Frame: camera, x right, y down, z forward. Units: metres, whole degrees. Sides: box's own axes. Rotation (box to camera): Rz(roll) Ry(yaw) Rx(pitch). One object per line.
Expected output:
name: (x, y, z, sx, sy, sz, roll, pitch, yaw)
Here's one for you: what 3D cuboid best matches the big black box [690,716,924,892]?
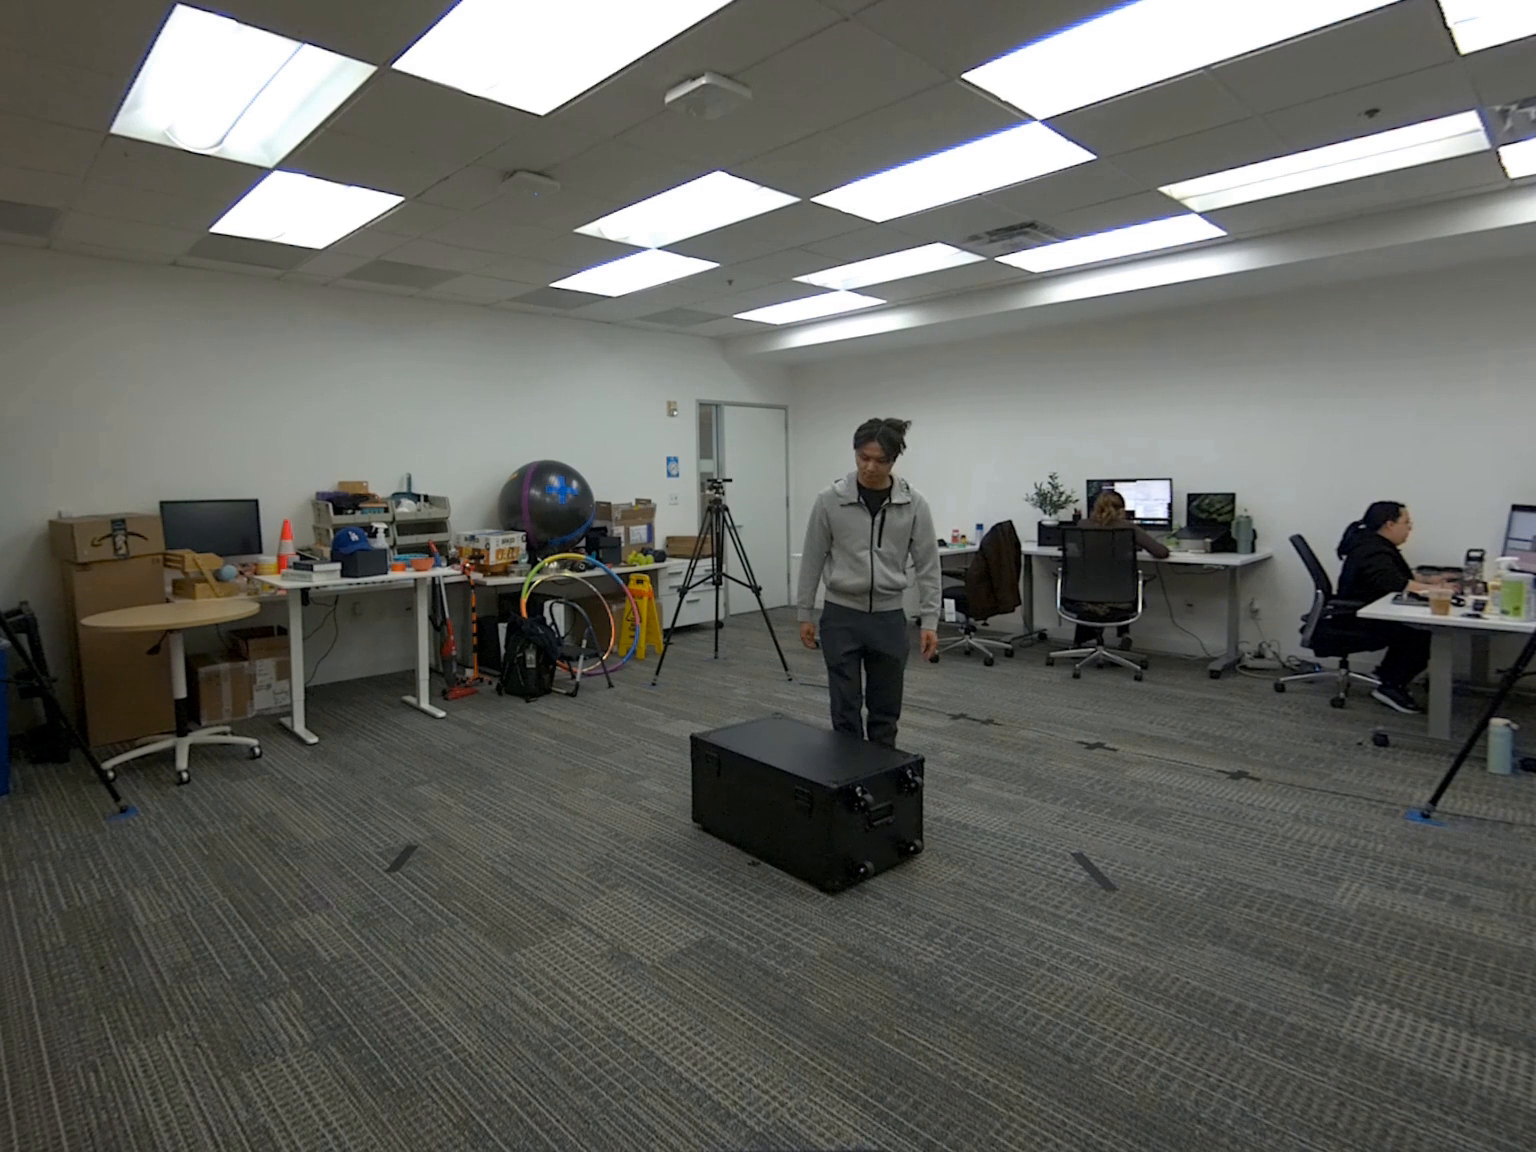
big black box: (0.151, 0.836, 3.248, 0.507, 0.395, 0.888, -5, 7, -41)
